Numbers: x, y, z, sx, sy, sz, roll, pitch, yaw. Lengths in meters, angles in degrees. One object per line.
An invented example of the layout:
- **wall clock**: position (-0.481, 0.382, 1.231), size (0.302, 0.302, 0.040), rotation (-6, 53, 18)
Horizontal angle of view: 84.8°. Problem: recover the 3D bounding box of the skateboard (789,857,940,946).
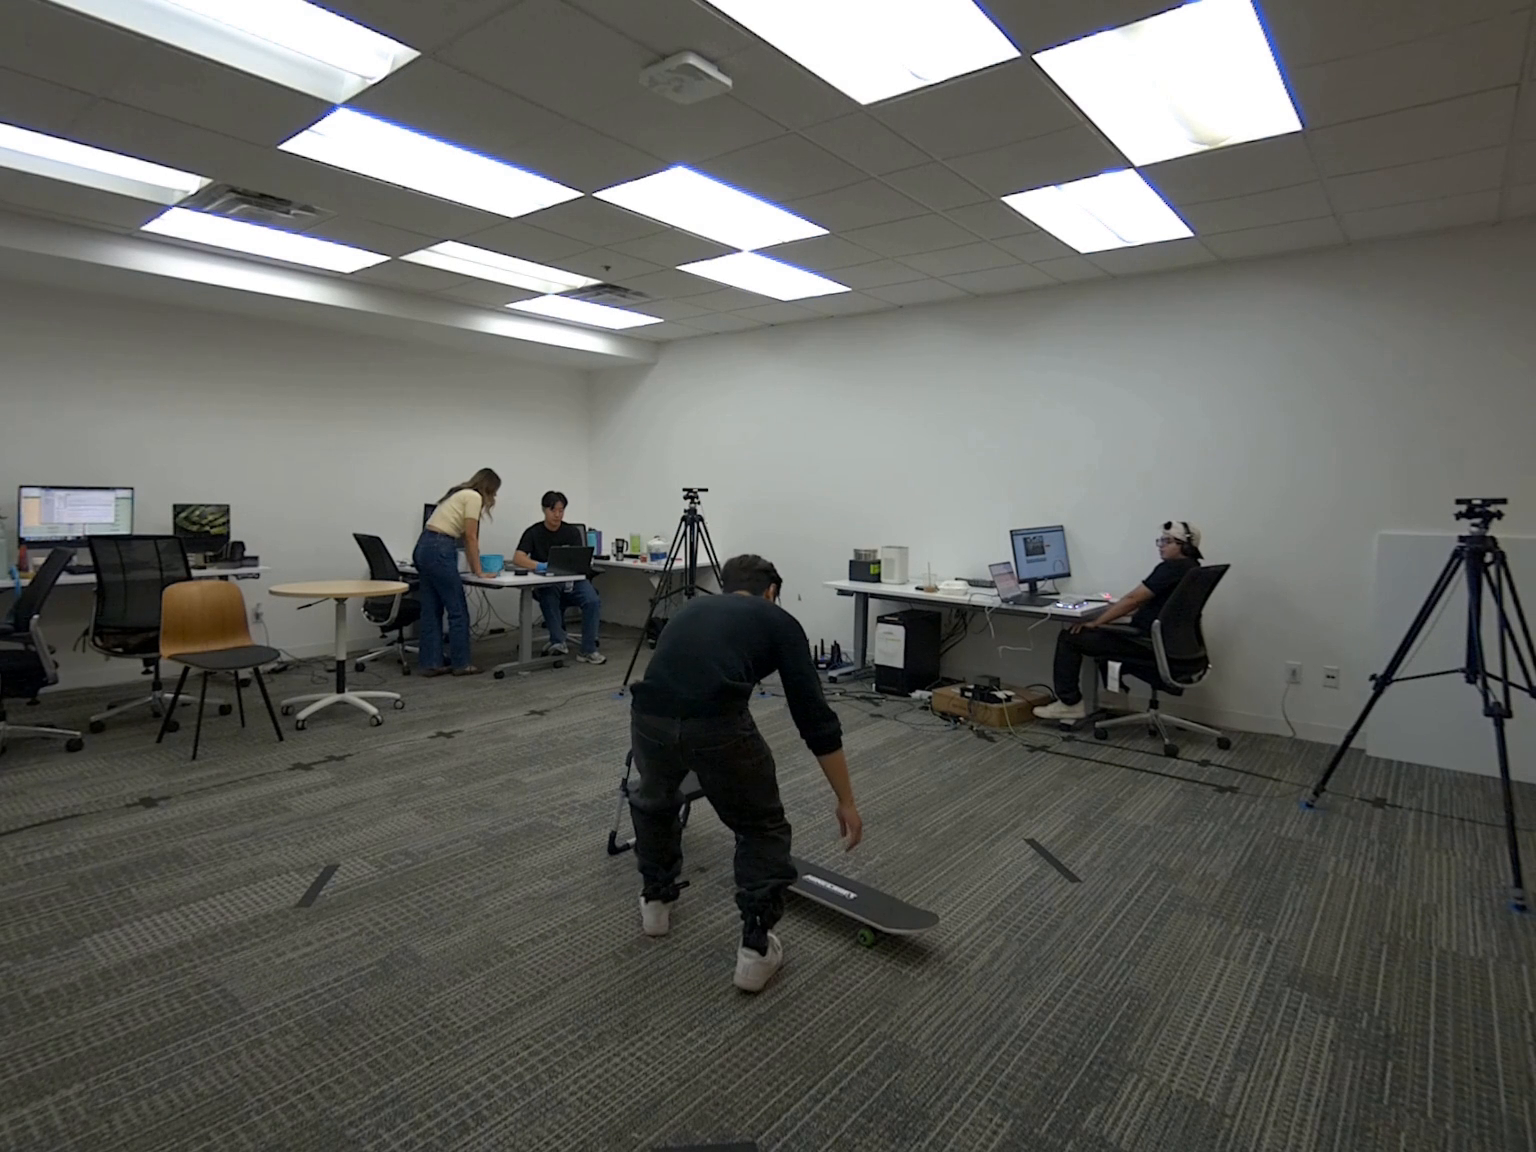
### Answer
- **skateboard**: position (0.195, 1.055, 2.801), size (0.813, 0.110, 0.187), rotation (6, 7, 42)
